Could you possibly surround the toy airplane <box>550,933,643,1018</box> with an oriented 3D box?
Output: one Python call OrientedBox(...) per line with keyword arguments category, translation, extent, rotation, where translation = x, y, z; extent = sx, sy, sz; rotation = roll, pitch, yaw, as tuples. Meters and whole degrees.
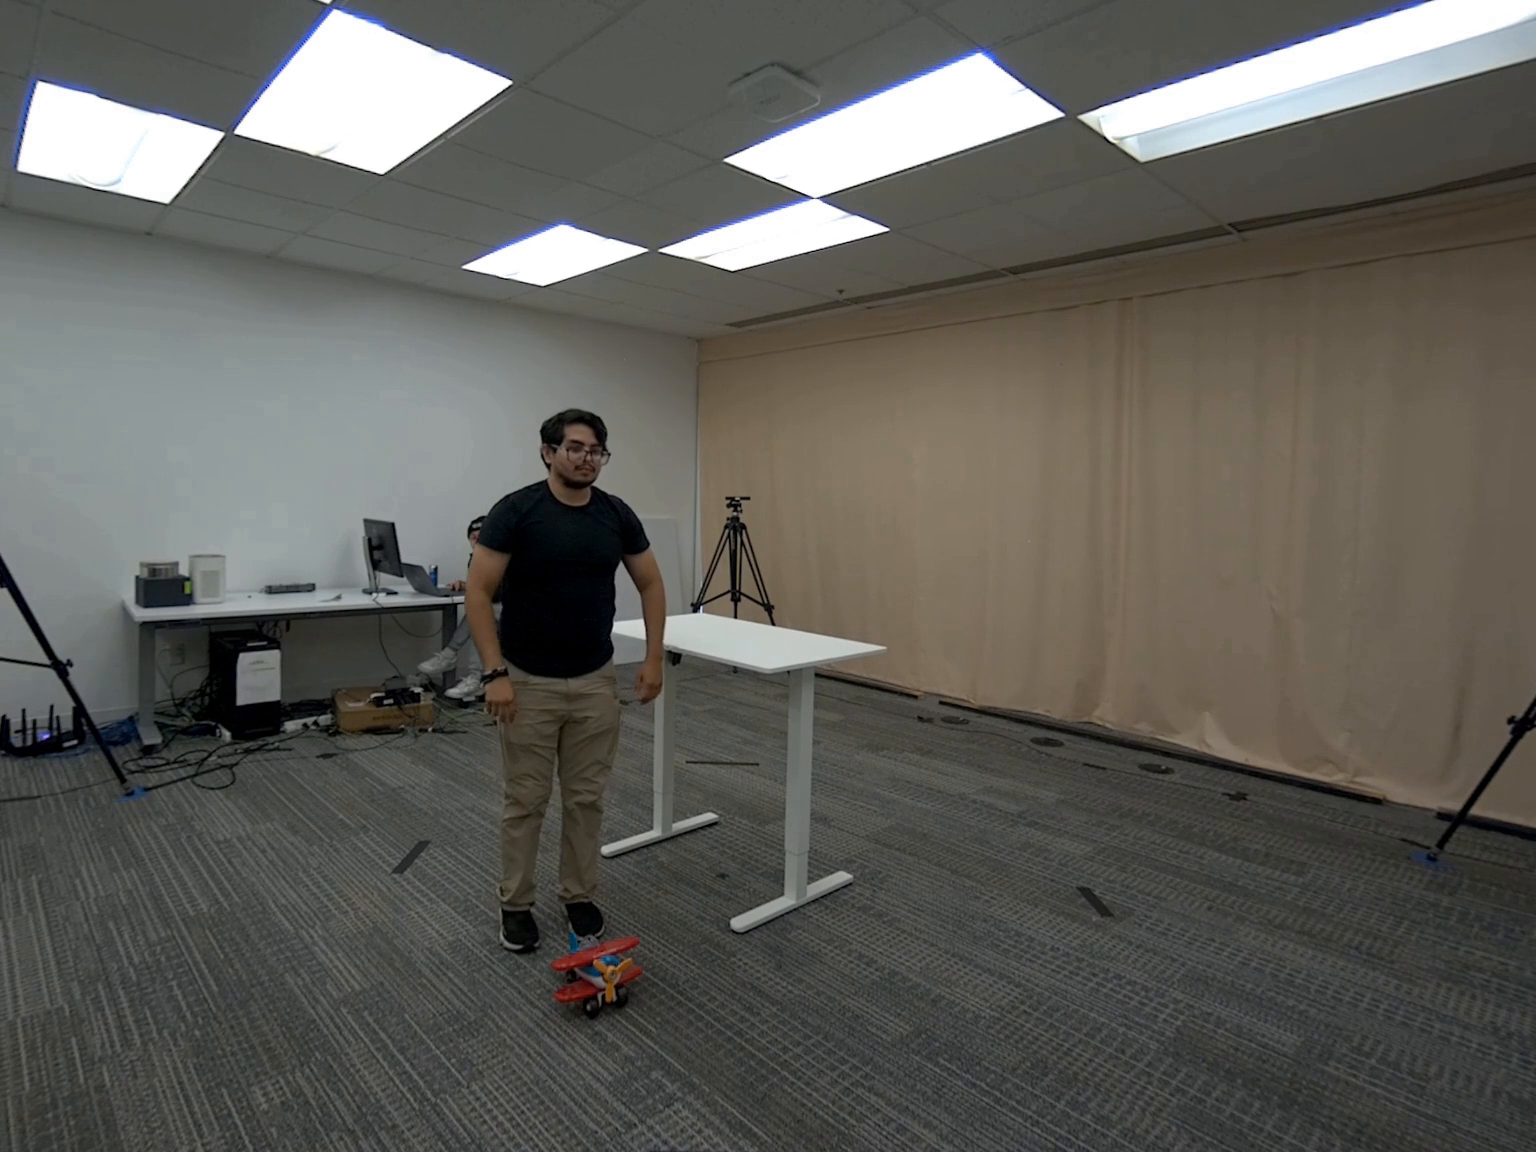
OrientedBox(category="toy airplane", translation=(-0.512, 1.100, 2.322), extent=(0.264, 0.156, 0.247), rotation=(5, 5, 25))
